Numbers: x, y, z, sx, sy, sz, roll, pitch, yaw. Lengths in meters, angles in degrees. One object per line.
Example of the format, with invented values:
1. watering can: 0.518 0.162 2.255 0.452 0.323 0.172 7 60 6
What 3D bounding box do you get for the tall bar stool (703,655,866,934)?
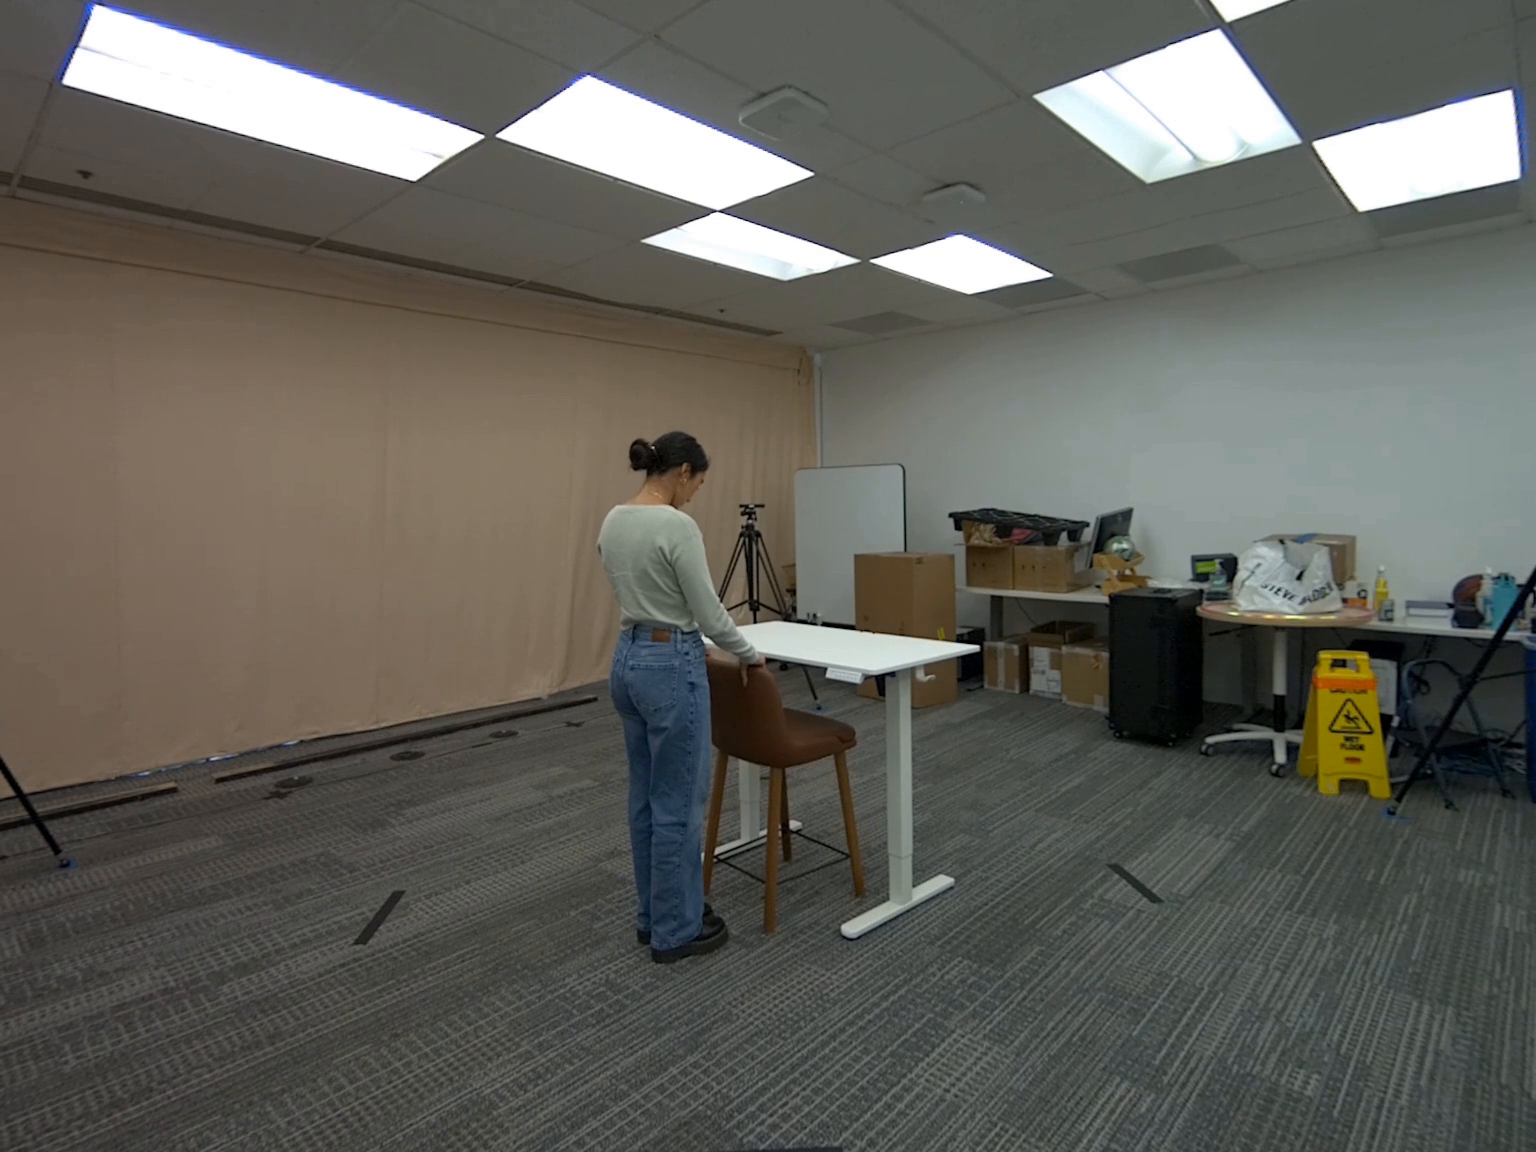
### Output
1. tall bar stool: 0.026 0.703 2.975 0.454 0.887 0.471 -7 7 -39
